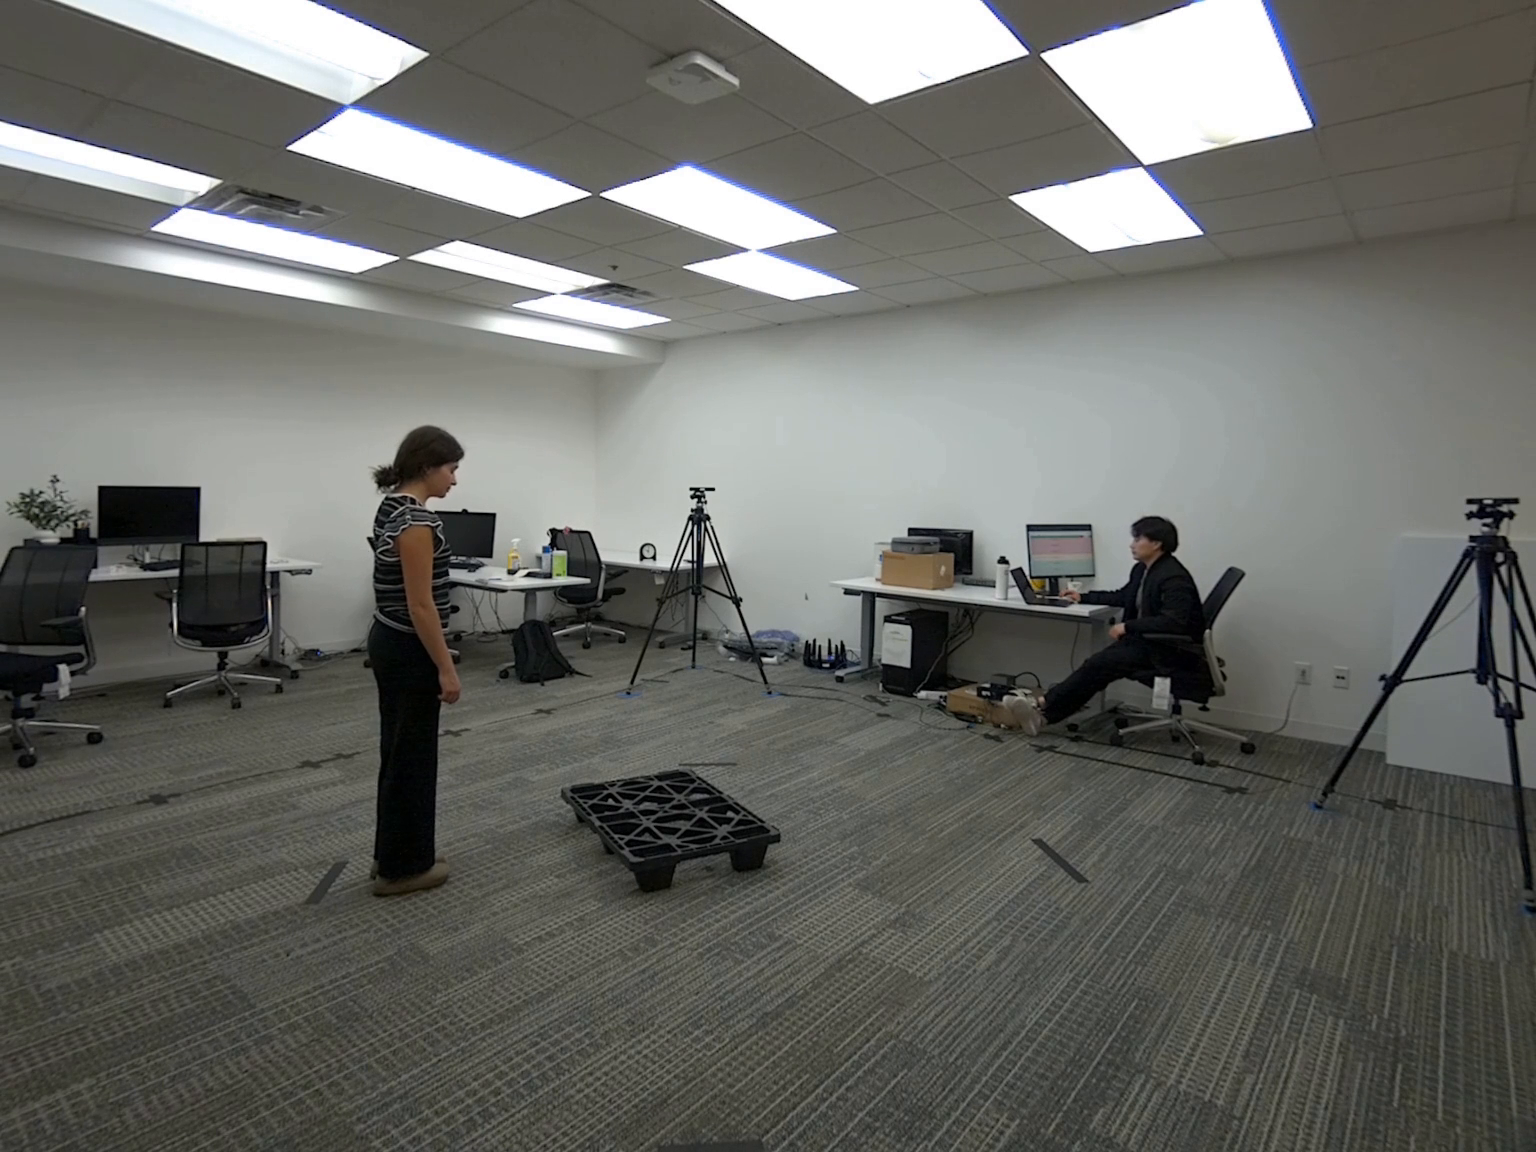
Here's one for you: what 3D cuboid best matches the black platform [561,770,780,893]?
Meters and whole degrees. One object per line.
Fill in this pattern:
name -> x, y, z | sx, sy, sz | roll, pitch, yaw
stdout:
black platform -> -0.419, 0.971, 3.337 | 0.589, 0.143, 0.830 | -2, 6, -29
